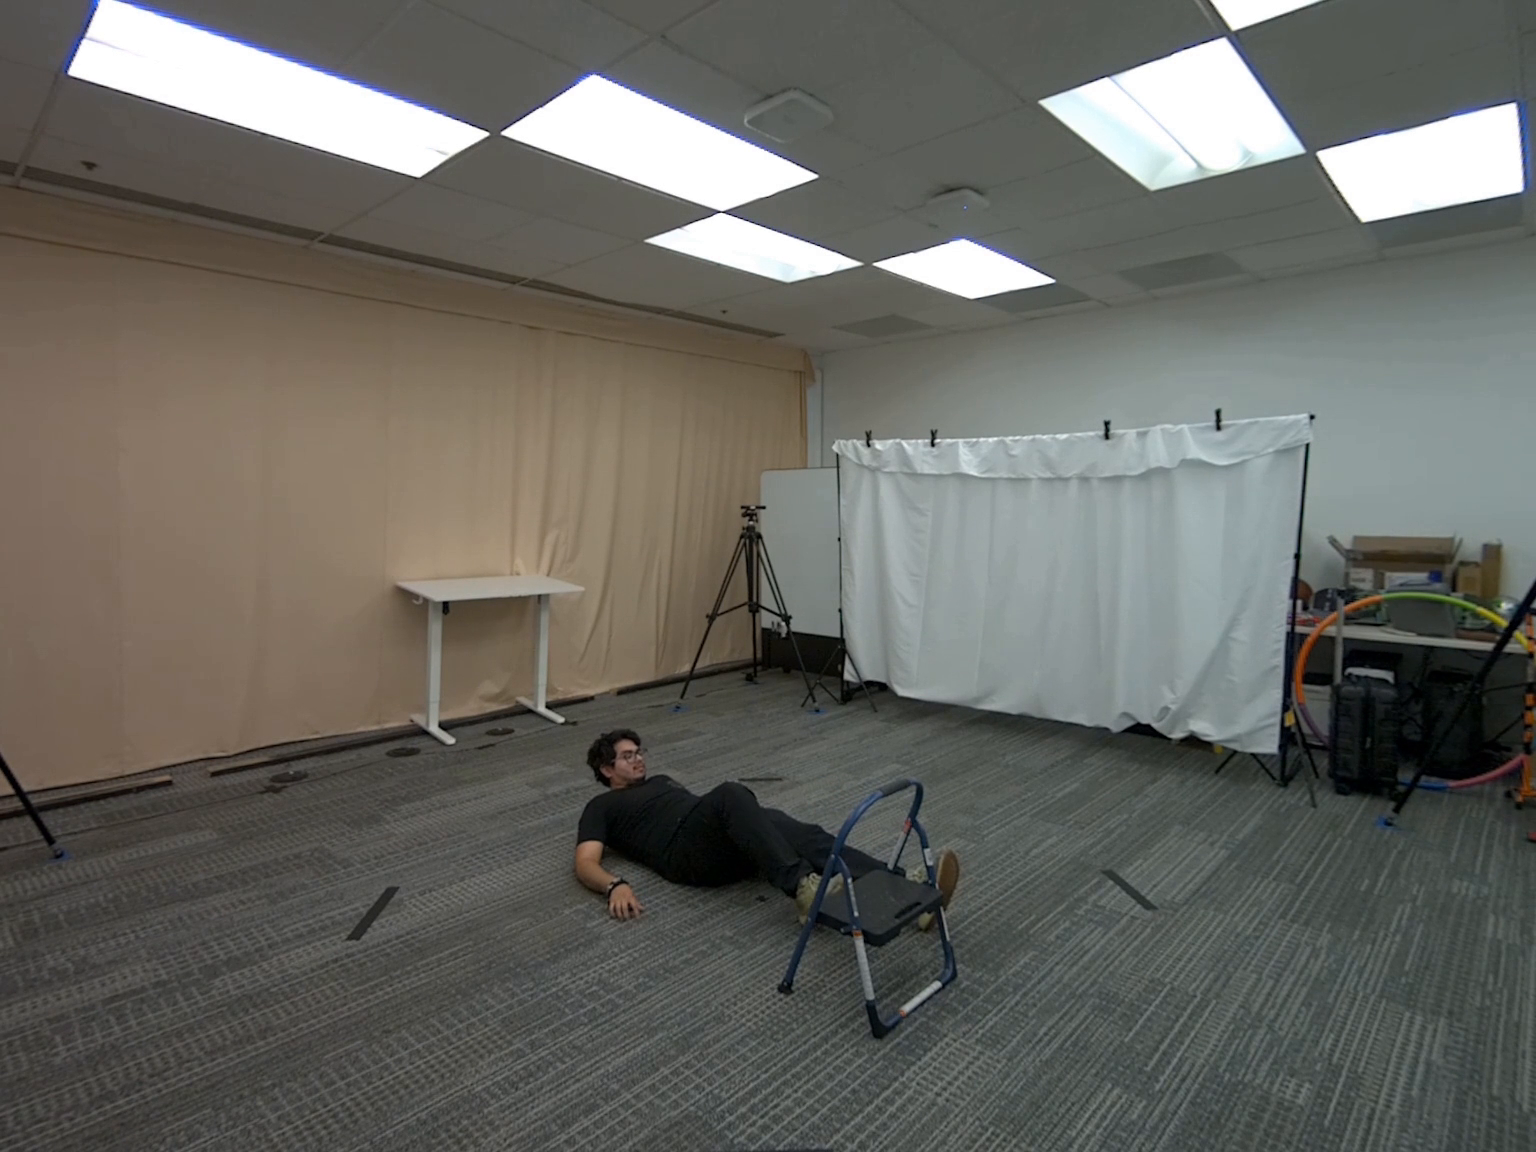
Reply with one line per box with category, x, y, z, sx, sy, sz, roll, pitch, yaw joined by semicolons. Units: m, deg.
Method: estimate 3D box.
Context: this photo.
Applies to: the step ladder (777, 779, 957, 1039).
step ladder;0.300;0.885;2.434;0.361;0.604;0.417;4;5;42
